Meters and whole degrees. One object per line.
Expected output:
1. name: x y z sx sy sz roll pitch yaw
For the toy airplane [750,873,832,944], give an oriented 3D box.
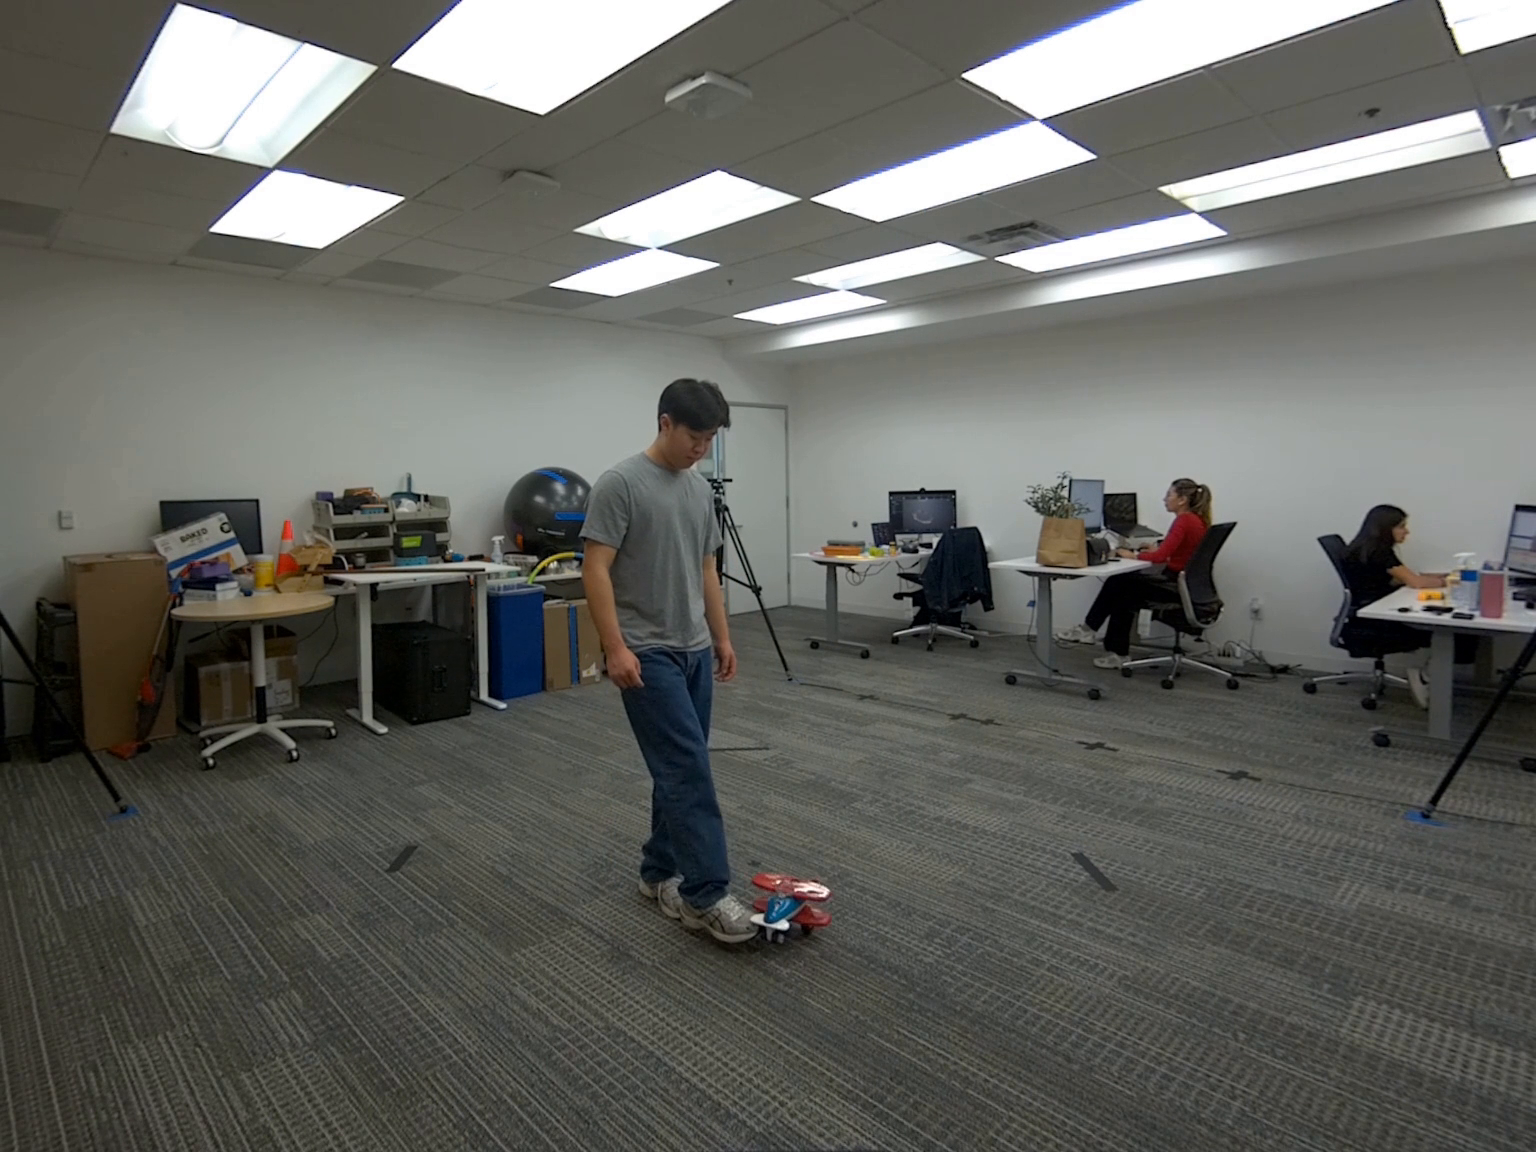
1. toy airplane: 0.073 1.013 2.575 0.251 0.157 0.257 6 -8 0
